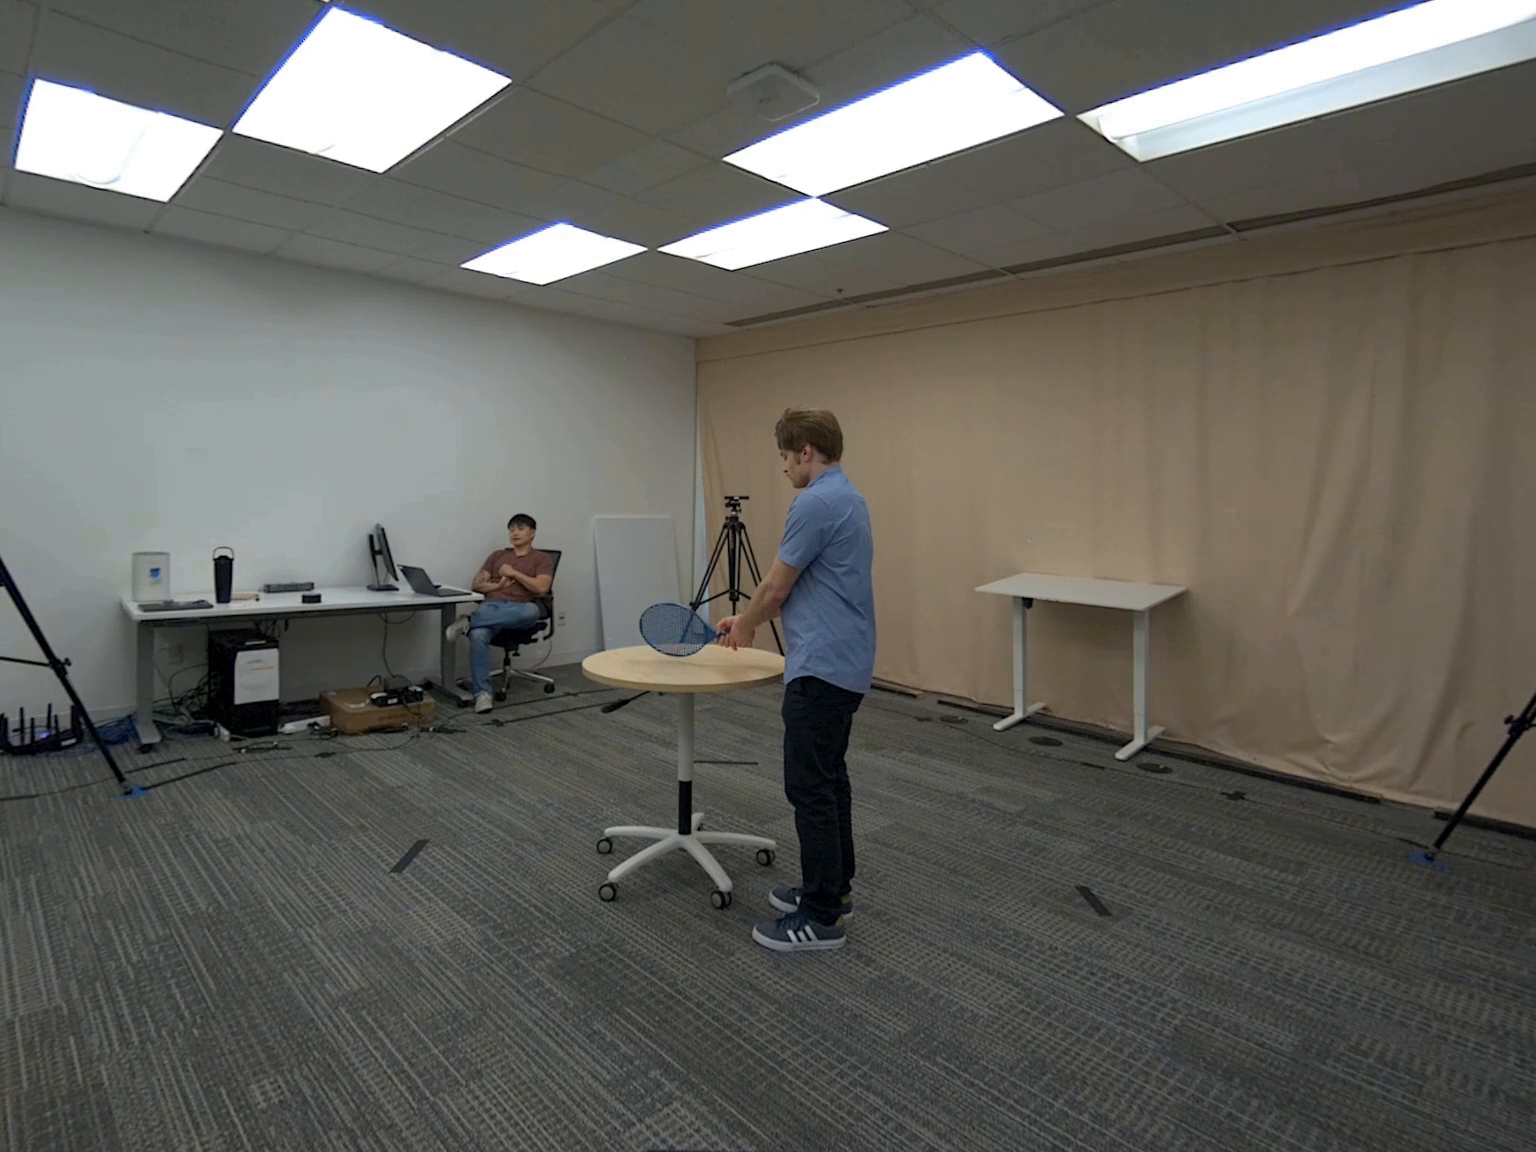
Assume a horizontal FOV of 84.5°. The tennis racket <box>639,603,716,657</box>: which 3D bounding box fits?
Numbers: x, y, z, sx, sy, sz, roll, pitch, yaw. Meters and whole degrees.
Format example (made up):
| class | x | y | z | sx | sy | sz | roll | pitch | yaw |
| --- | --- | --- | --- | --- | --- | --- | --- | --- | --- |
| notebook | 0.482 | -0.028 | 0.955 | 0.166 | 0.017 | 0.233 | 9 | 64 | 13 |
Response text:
| class | x | y | z | sx | sy | sz | roll | pitch | yaw |
| --- | --- | --- | --- | --- | --- | --- | --- | --- | --- |
| tennis racket | -0.276 | 0.217 | 3.049 | 0.436 | 0.210 | 0.032 | 8 | 28 | 9 |
